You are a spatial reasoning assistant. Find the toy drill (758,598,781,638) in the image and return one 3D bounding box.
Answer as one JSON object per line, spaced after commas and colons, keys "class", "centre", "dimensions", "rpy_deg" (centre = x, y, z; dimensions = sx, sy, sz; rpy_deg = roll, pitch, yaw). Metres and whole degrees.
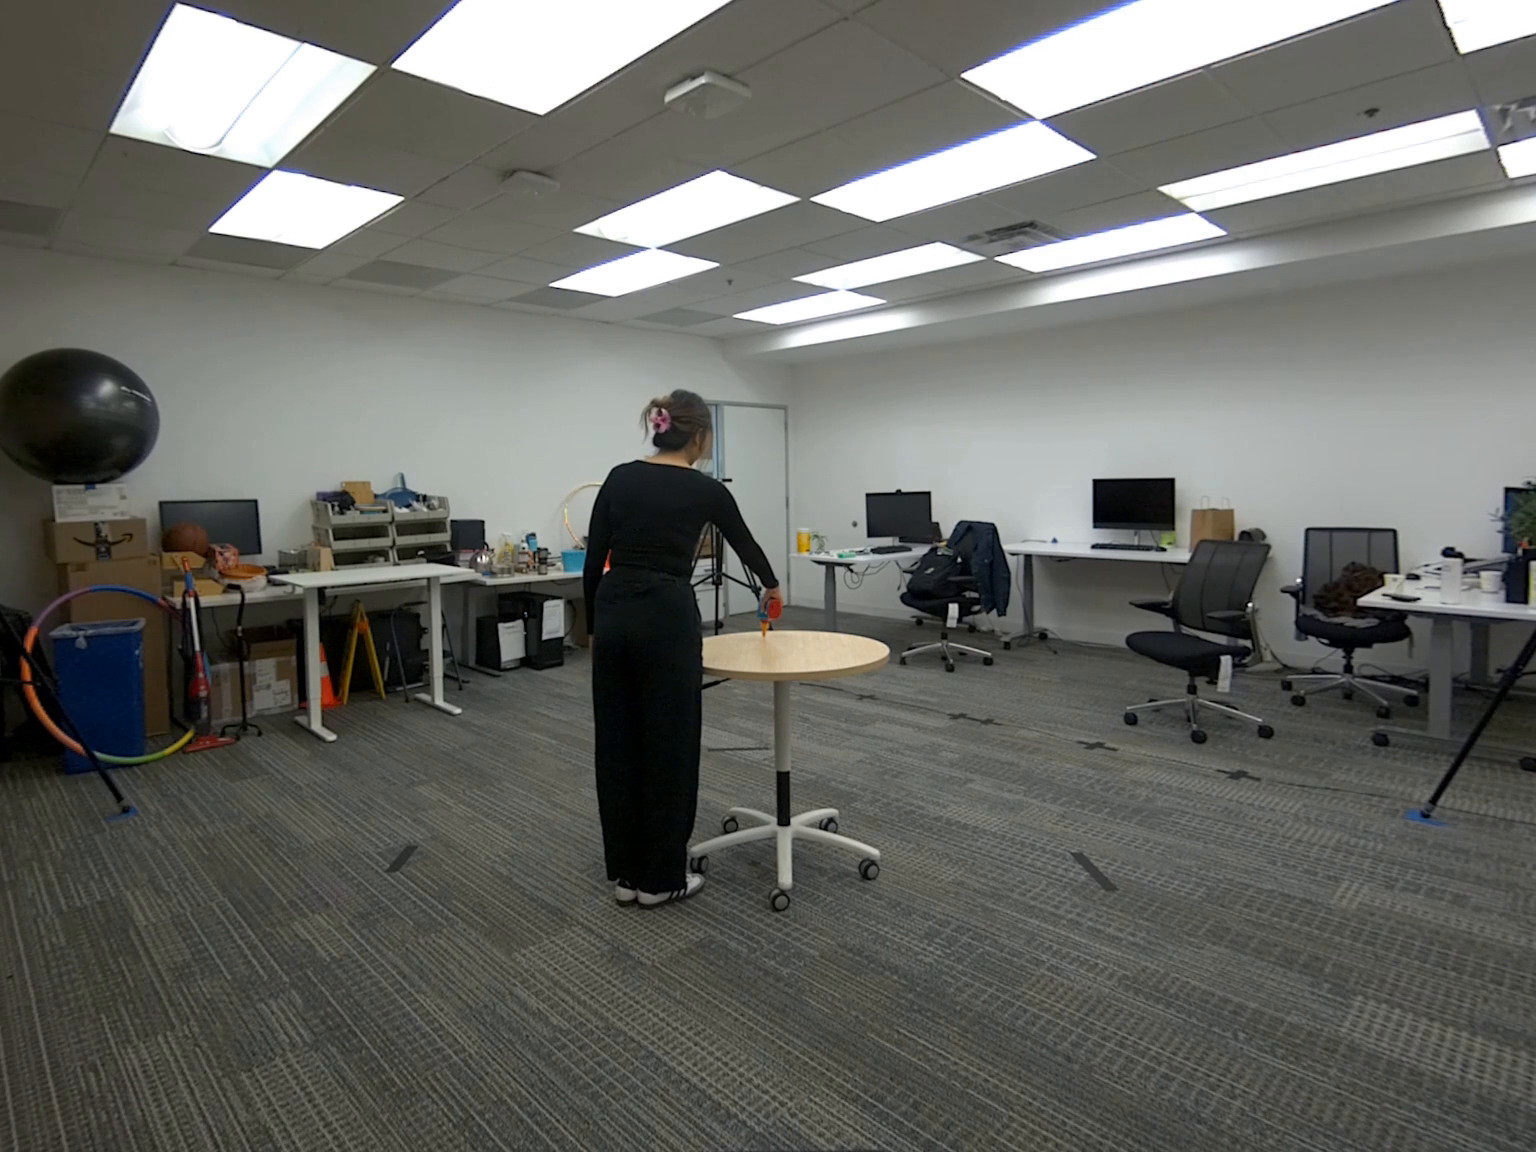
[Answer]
{"class": "toy drill", "centre": [0.006, 0.156, 3.281], "dimensions": [0.060, 0.169, 0.149], "rpy_deg": [5, 4, -18]}
